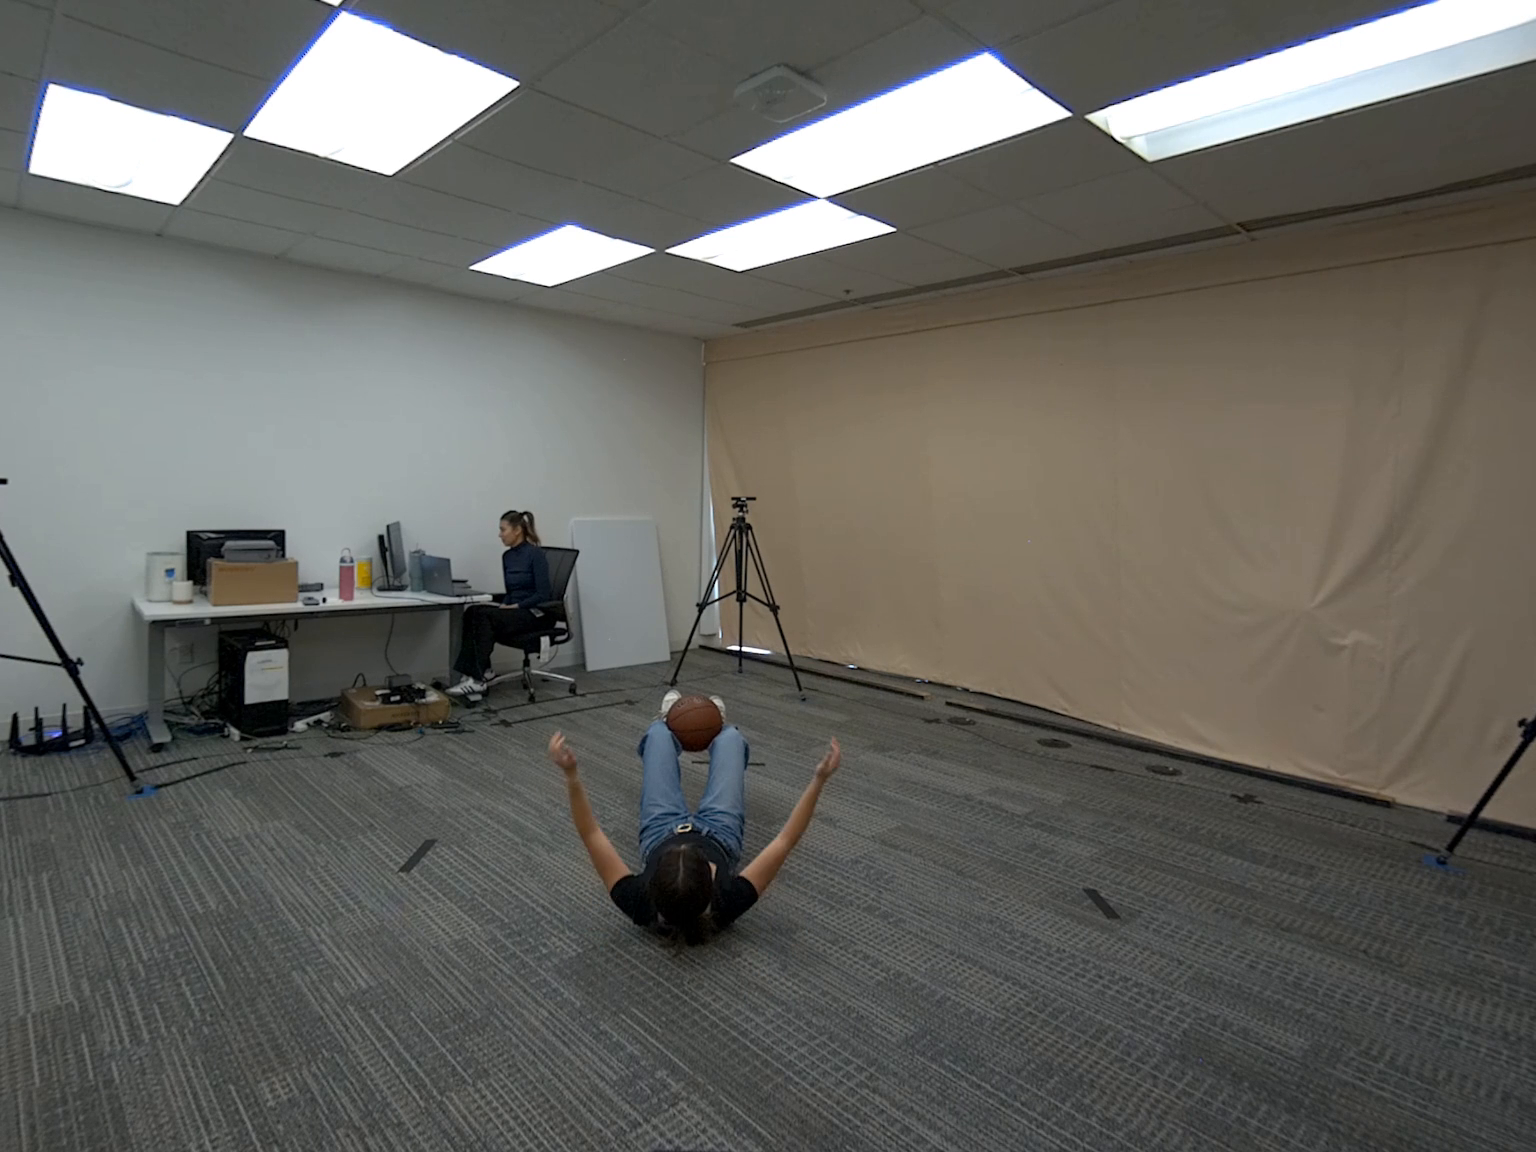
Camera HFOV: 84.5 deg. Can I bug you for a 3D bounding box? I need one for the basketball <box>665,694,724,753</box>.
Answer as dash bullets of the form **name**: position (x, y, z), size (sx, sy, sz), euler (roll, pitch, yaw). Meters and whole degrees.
- **basketball**: position (-0.316, 0.610, 3.521), size (0.236, 0.235, 0.237), euler (1, 4, -1)
